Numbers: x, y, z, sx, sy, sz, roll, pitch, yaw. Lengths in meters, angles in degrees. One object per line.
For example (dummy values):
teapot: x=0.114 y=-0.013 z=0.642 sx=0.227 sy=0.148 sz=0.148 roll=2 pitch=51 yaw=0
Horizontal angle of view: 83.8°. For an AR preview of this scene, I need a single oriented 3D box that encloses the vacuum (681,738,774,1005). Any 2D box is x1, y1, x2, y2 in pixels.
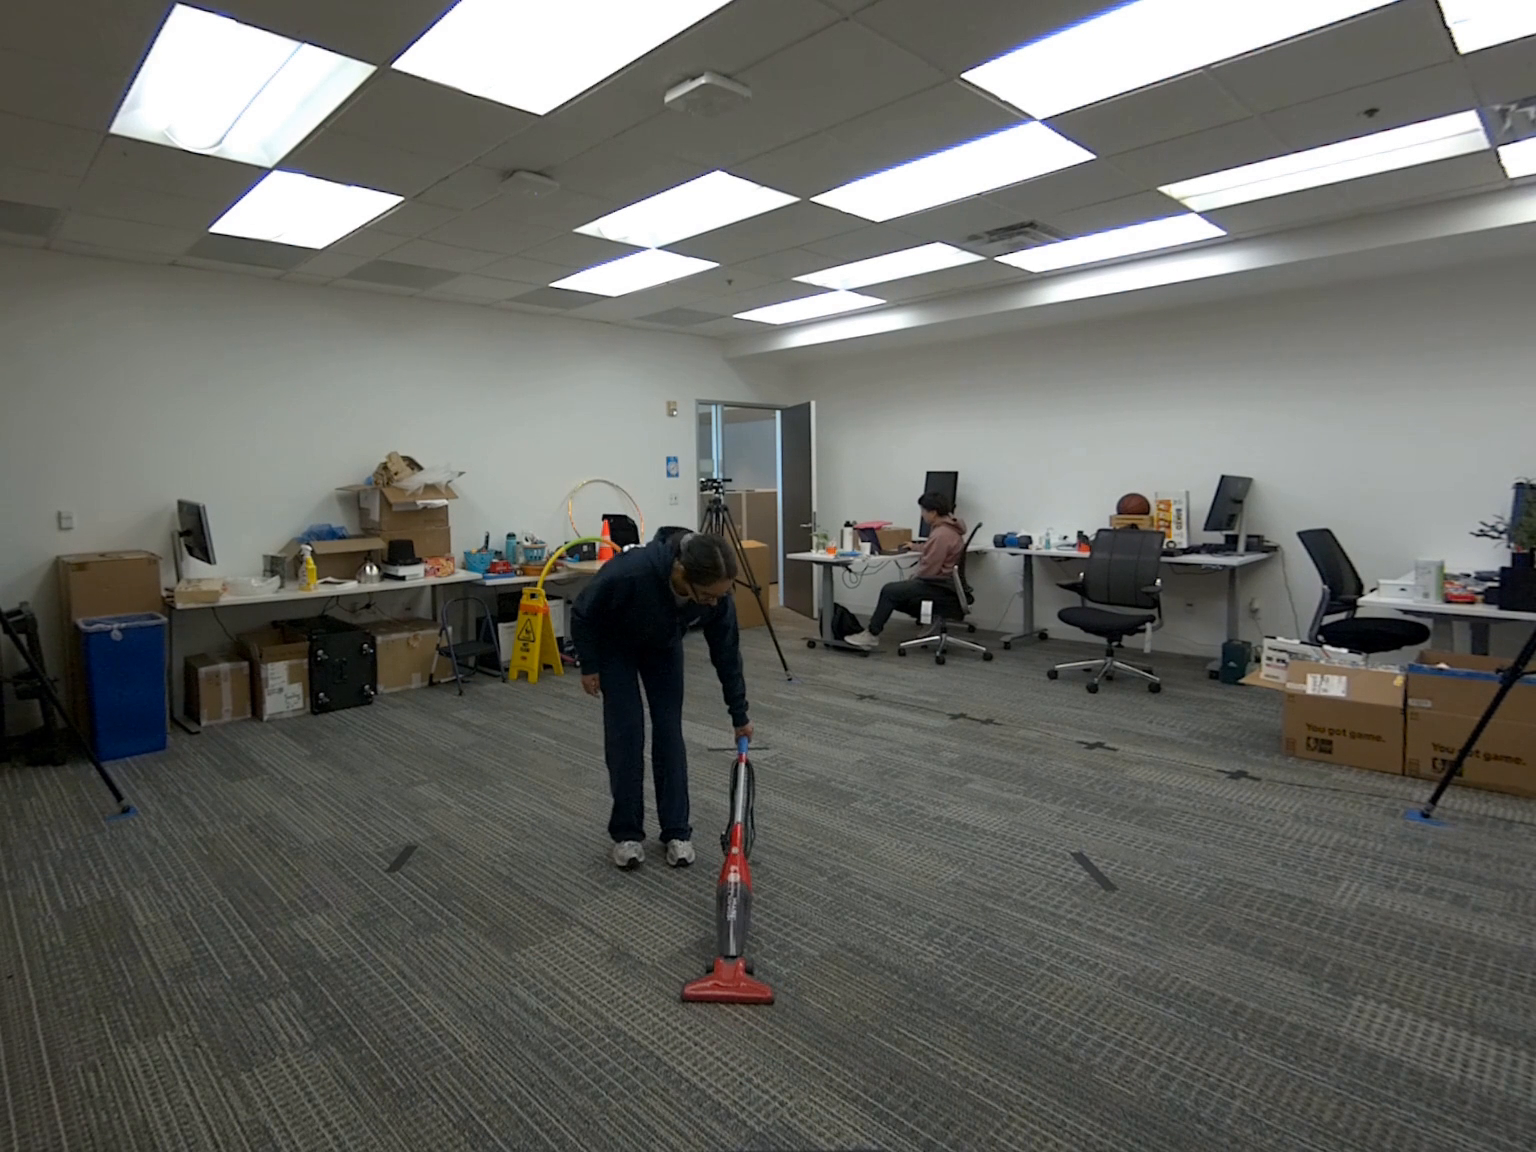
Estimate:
vacuum: x=-0.093 y=0.863 z=2.815 sx=0.254 sy=0.140 sz=1.068 roll=-9 pitch=27 yaw=7
